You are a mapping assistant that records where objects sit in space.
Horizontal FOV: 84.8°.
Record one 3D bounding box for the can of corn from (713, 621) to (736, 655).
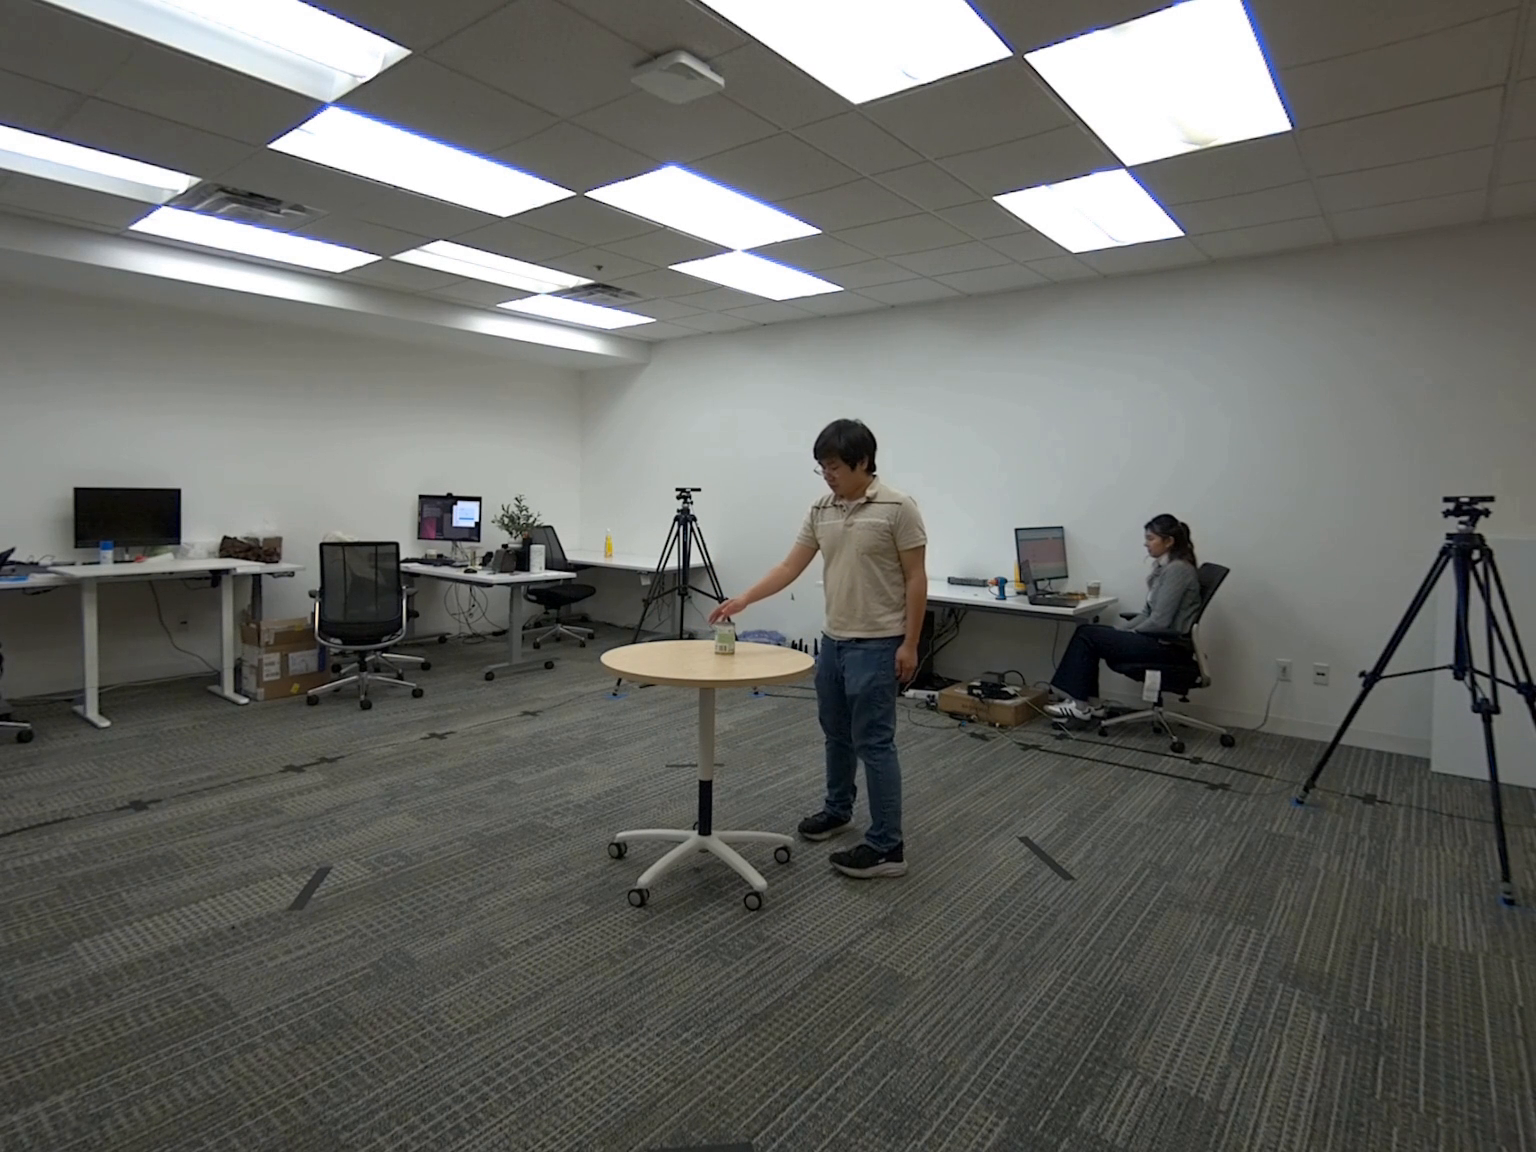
[{"bbox_3d":[-0.172,0.226,3.155,0.074,0.111,0.074,2,2,-2],"label":"can of corn"}]
